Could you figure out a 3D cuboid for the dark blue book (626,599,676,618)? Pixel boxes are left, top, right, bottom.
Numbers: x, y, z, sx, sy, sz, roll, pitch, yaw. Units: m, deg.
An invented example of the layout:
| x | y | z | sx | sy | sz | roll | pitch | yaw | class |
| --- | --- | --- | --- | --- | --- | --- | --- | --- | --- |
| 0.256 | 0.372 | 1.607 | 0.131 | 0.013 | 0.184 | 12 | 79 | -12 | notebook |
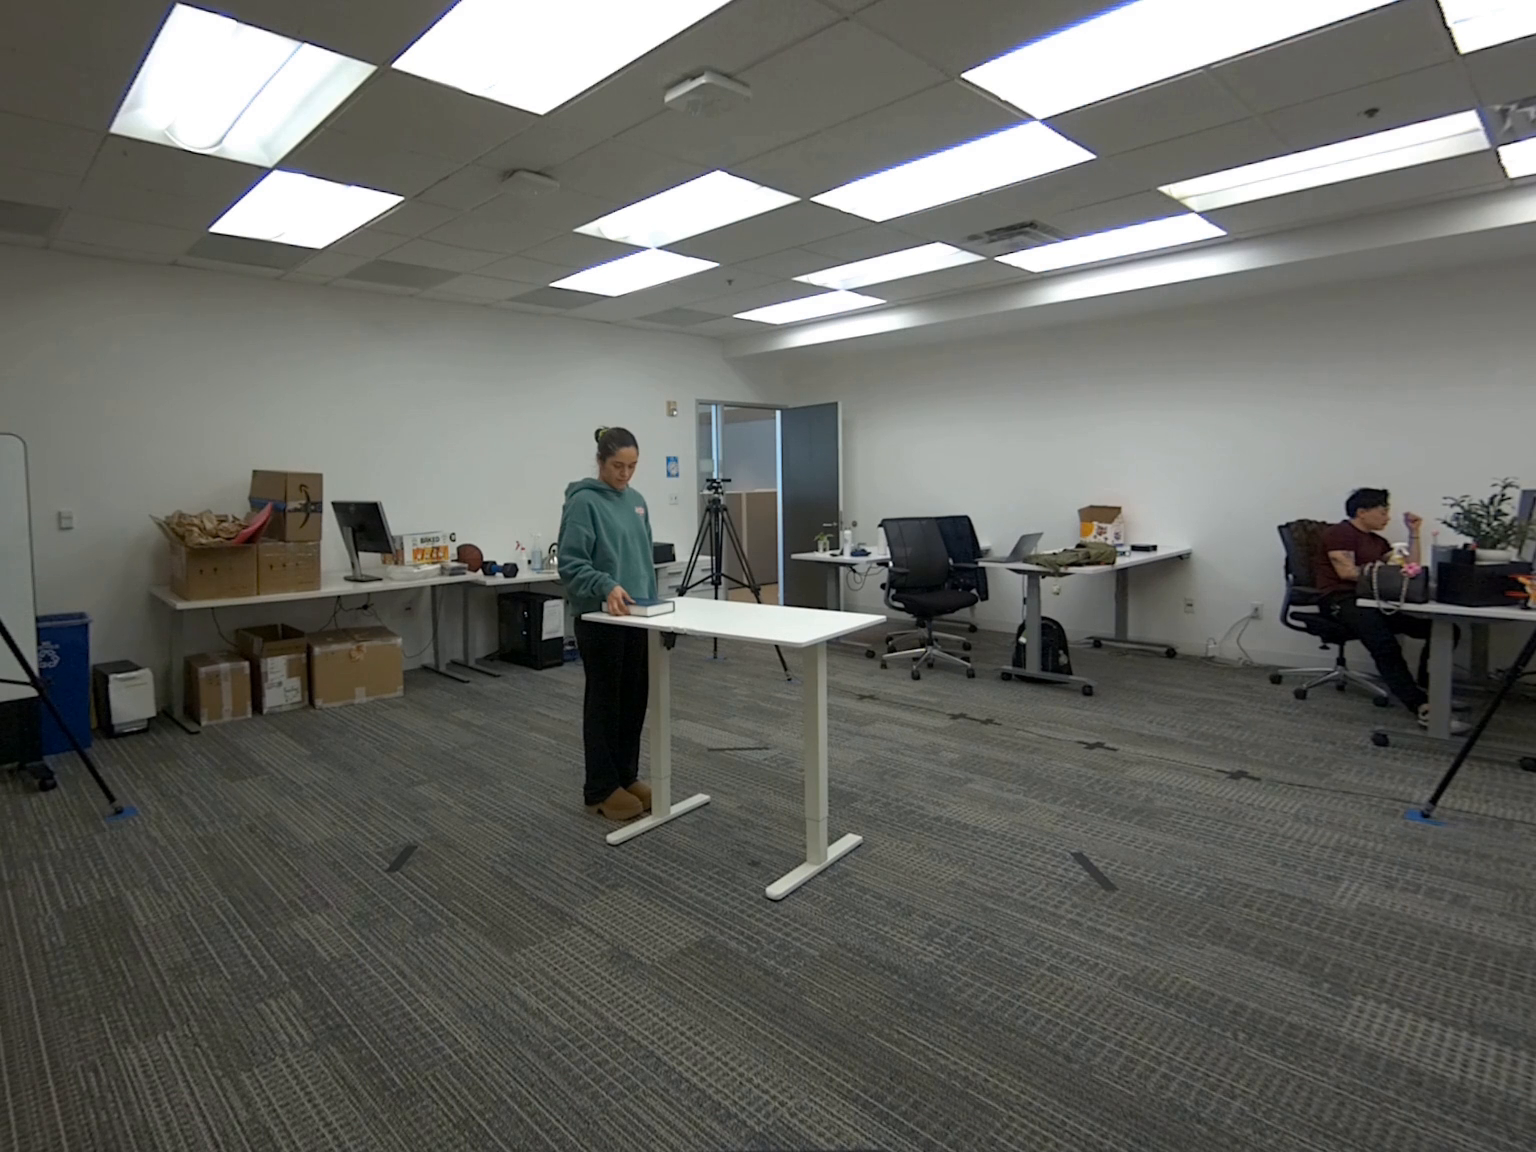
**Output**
| x | y | z | sx | sy | sz | roll | pitch | yaw | class |
| --- | --- | --- | --- | --- | --- | --- | --- | --- | --- |
| -0.509 | 0.122 | 3.352 | 0.252 | 0.045 | 0.159 | 3 | 7 | 33 | dark blue book |
